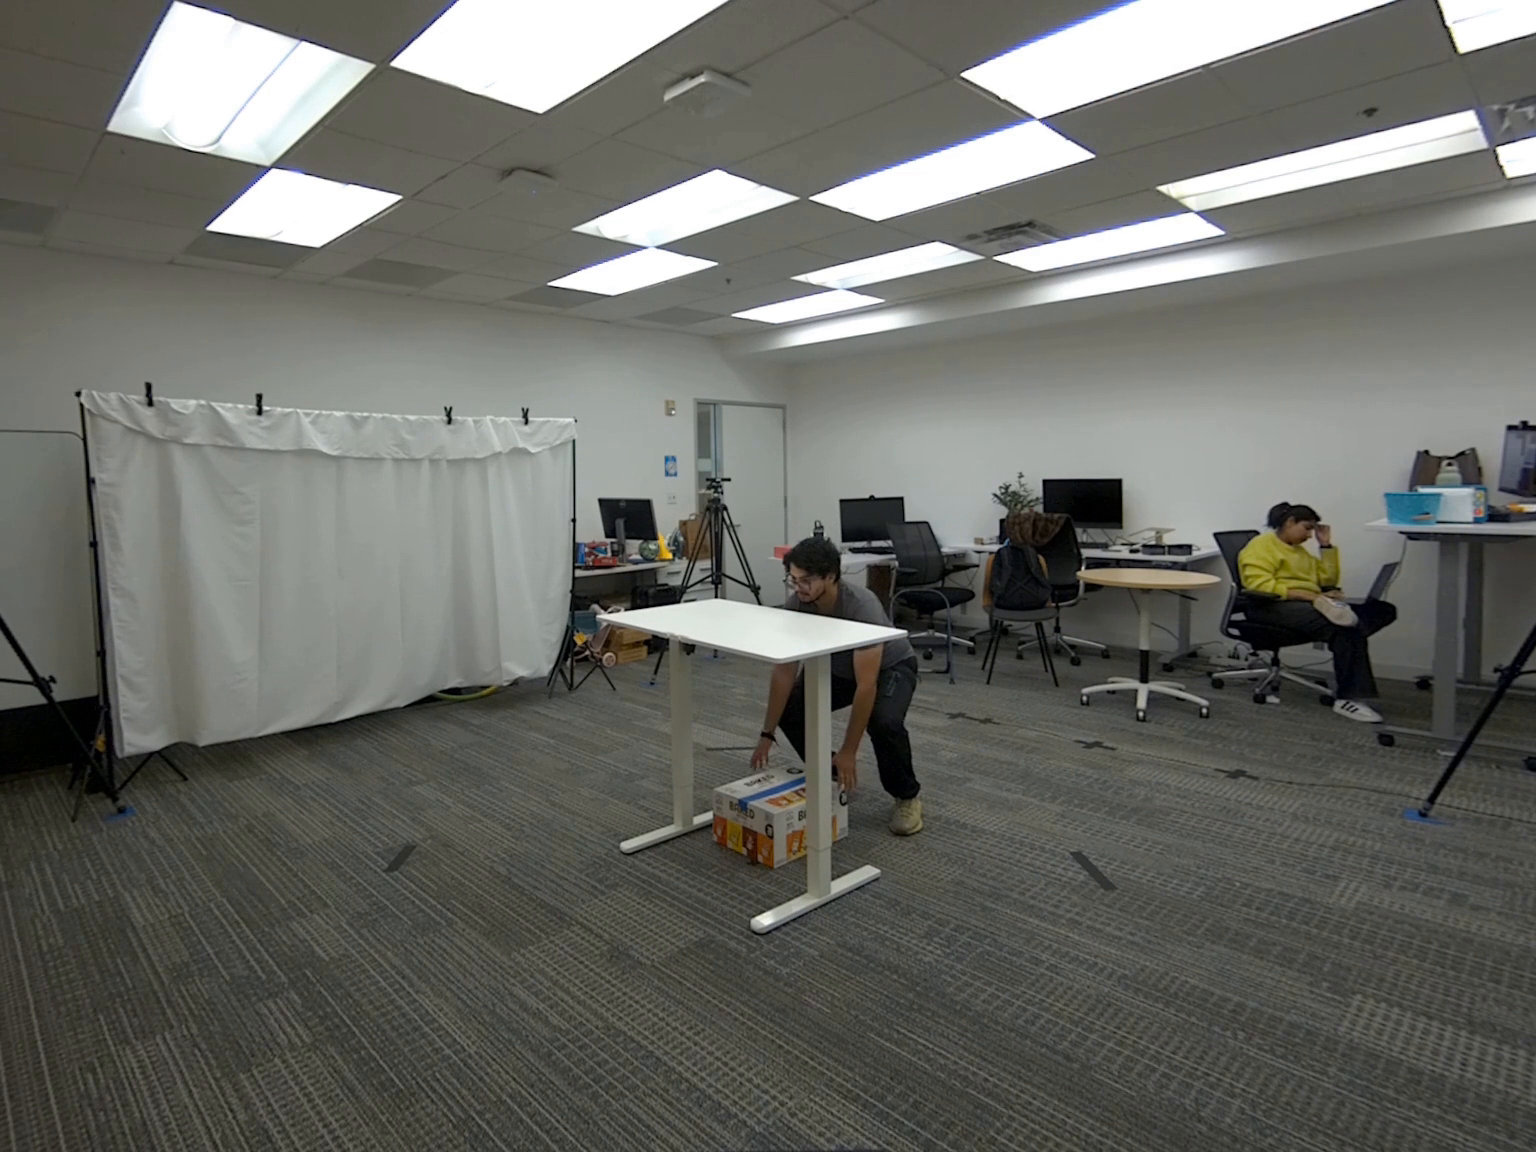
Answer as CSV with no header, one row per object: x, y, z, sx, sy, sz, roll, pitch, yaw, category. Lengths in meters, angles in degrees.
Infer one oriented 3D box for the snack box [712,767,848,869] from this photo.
0.049,0.918,3.298,0.394,0.205,0.351,-6,8,-42,snack box
